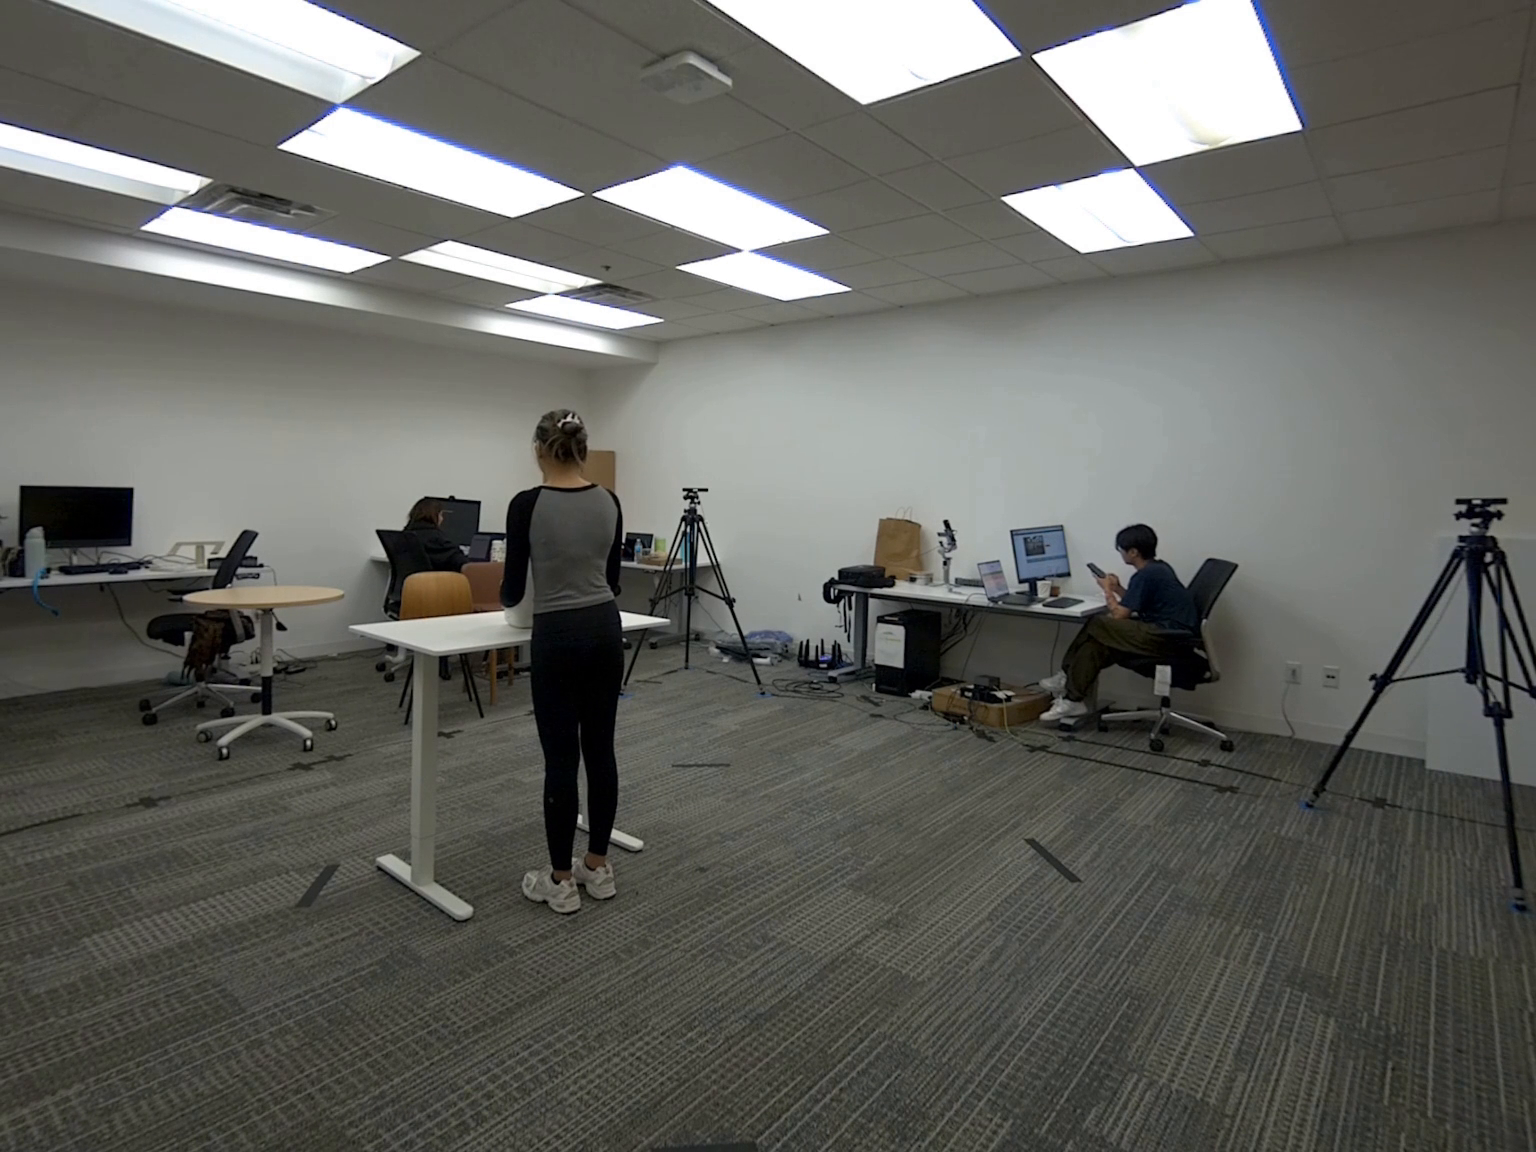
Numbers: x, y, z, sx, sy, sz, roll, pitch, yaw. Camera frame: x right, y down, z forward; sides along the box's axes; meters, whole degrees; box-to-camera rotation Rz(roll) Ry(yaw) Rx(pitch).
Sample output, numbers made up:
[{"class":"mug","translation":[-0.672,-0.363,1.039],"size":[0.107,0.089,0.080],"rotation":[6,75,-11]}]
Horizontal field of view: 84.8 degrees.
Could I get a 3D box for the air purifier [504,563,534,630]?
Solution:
[{"class":"air purifier","translation":[-0.867,0.046,3.101],"size":[0.166,0.265,0.177],"rotation":[2,3,-37]}]
